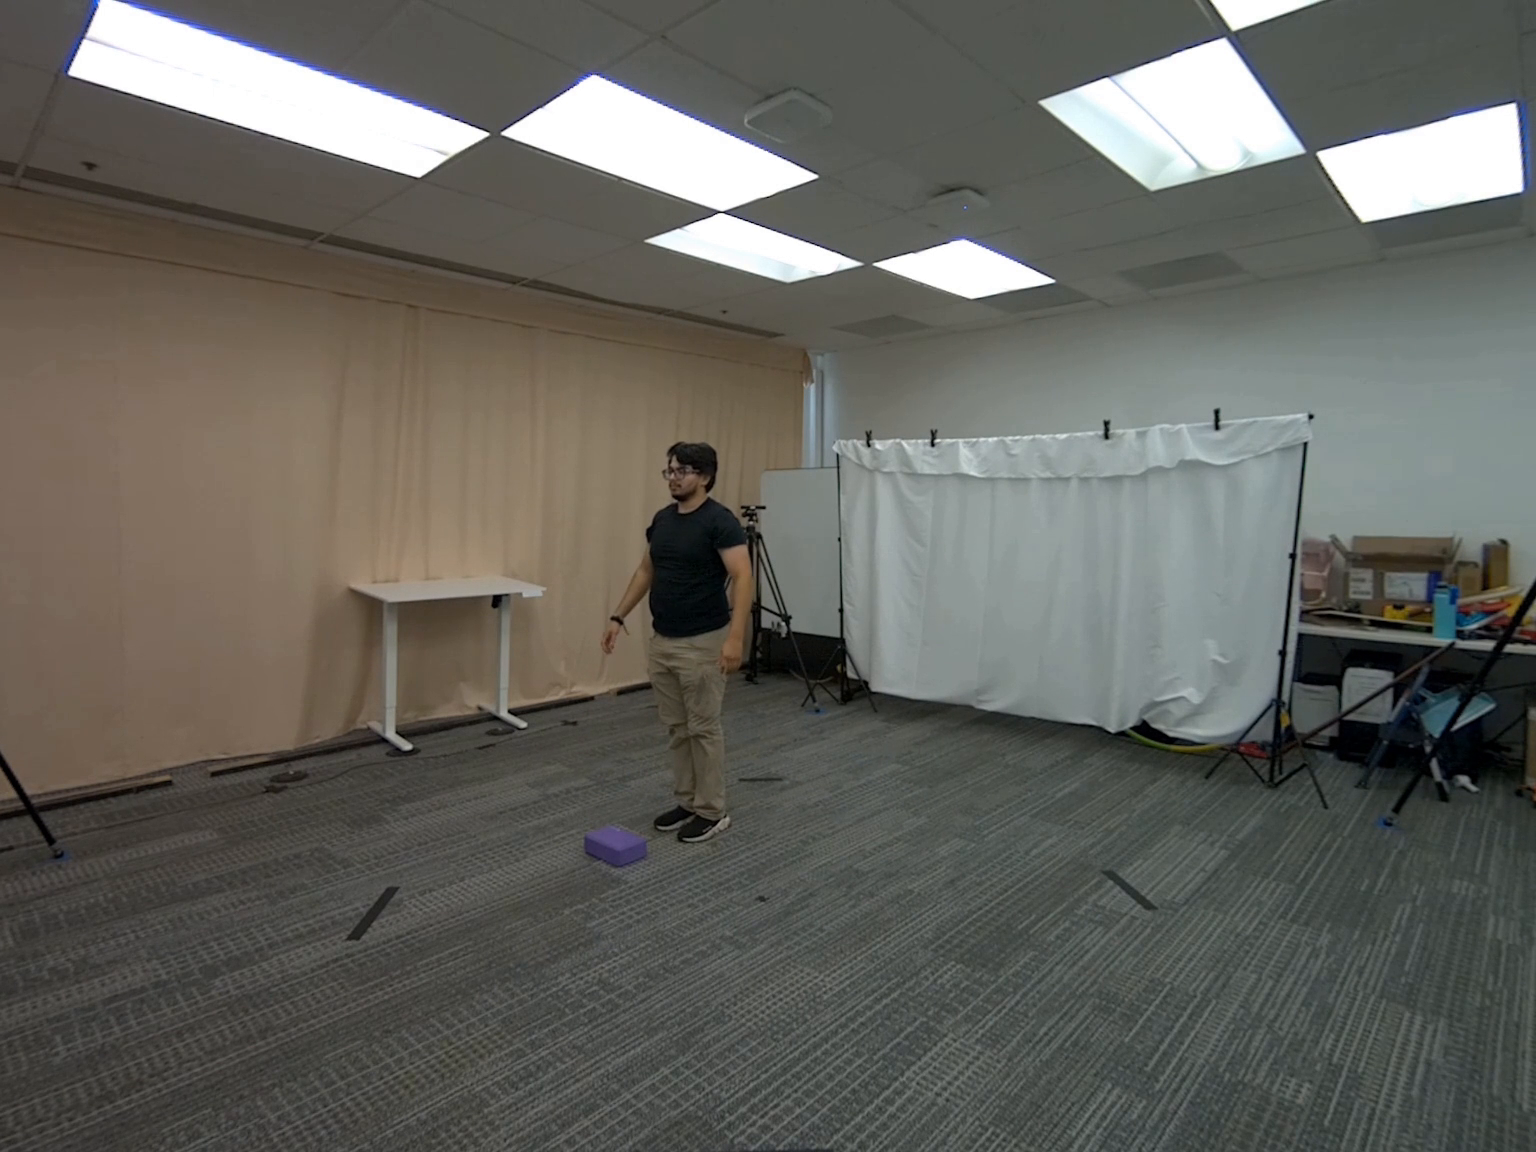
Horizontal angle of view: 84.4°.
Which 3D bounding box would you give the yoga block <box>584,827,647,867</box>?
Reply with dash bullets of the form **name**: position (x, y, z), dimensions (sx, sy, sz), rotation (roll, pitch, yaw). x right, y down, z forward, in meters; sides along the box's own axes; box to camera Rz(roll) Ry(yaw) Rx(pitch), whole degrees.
- **yoga block**: position (-0.613, 1.078, 3.366), dimensions (0.237, 0.076, 0.144), rotation (3, 7, 42)
